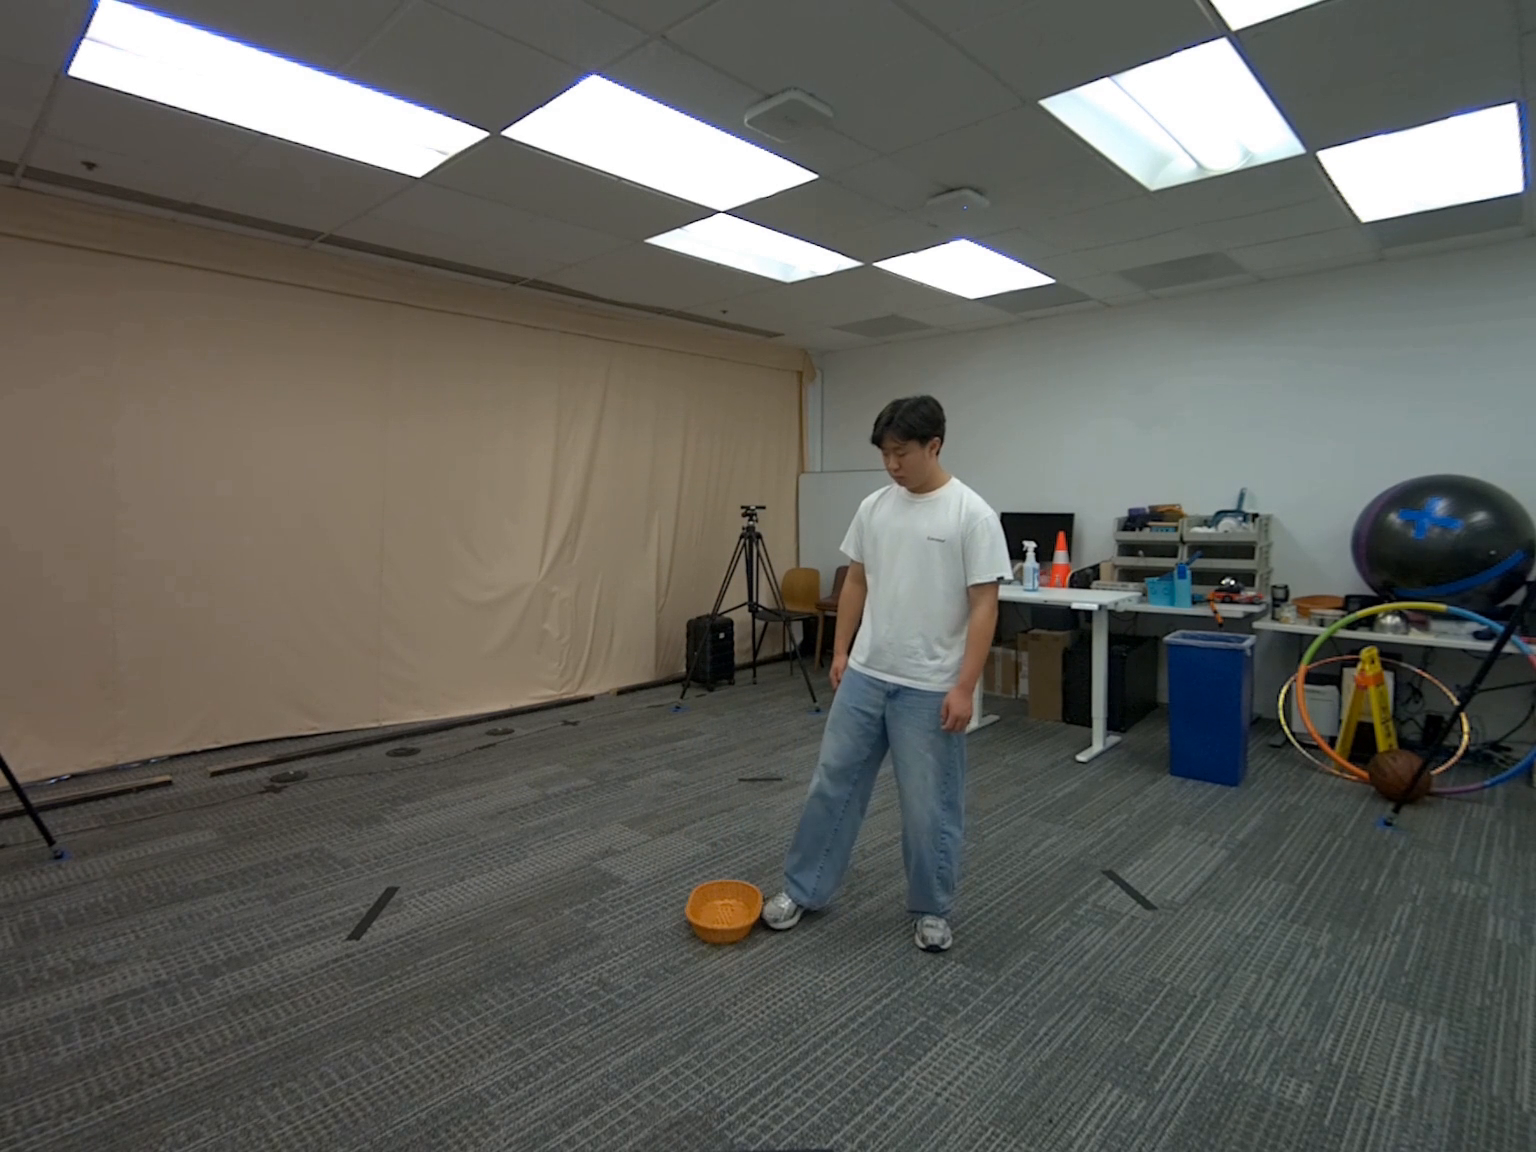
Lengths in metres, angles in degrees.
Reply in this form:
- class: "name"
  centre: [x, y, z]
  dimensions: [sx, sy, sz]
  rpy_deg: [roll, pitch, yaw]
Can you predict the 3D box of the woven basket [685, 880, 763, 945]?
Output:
- class: "woven basket"
  centre: [-0.131, 1.125, 2.797]
  dimensions: [0.255, 0.073, 0.347]
  rpy_deg: [0, 4, 9]
